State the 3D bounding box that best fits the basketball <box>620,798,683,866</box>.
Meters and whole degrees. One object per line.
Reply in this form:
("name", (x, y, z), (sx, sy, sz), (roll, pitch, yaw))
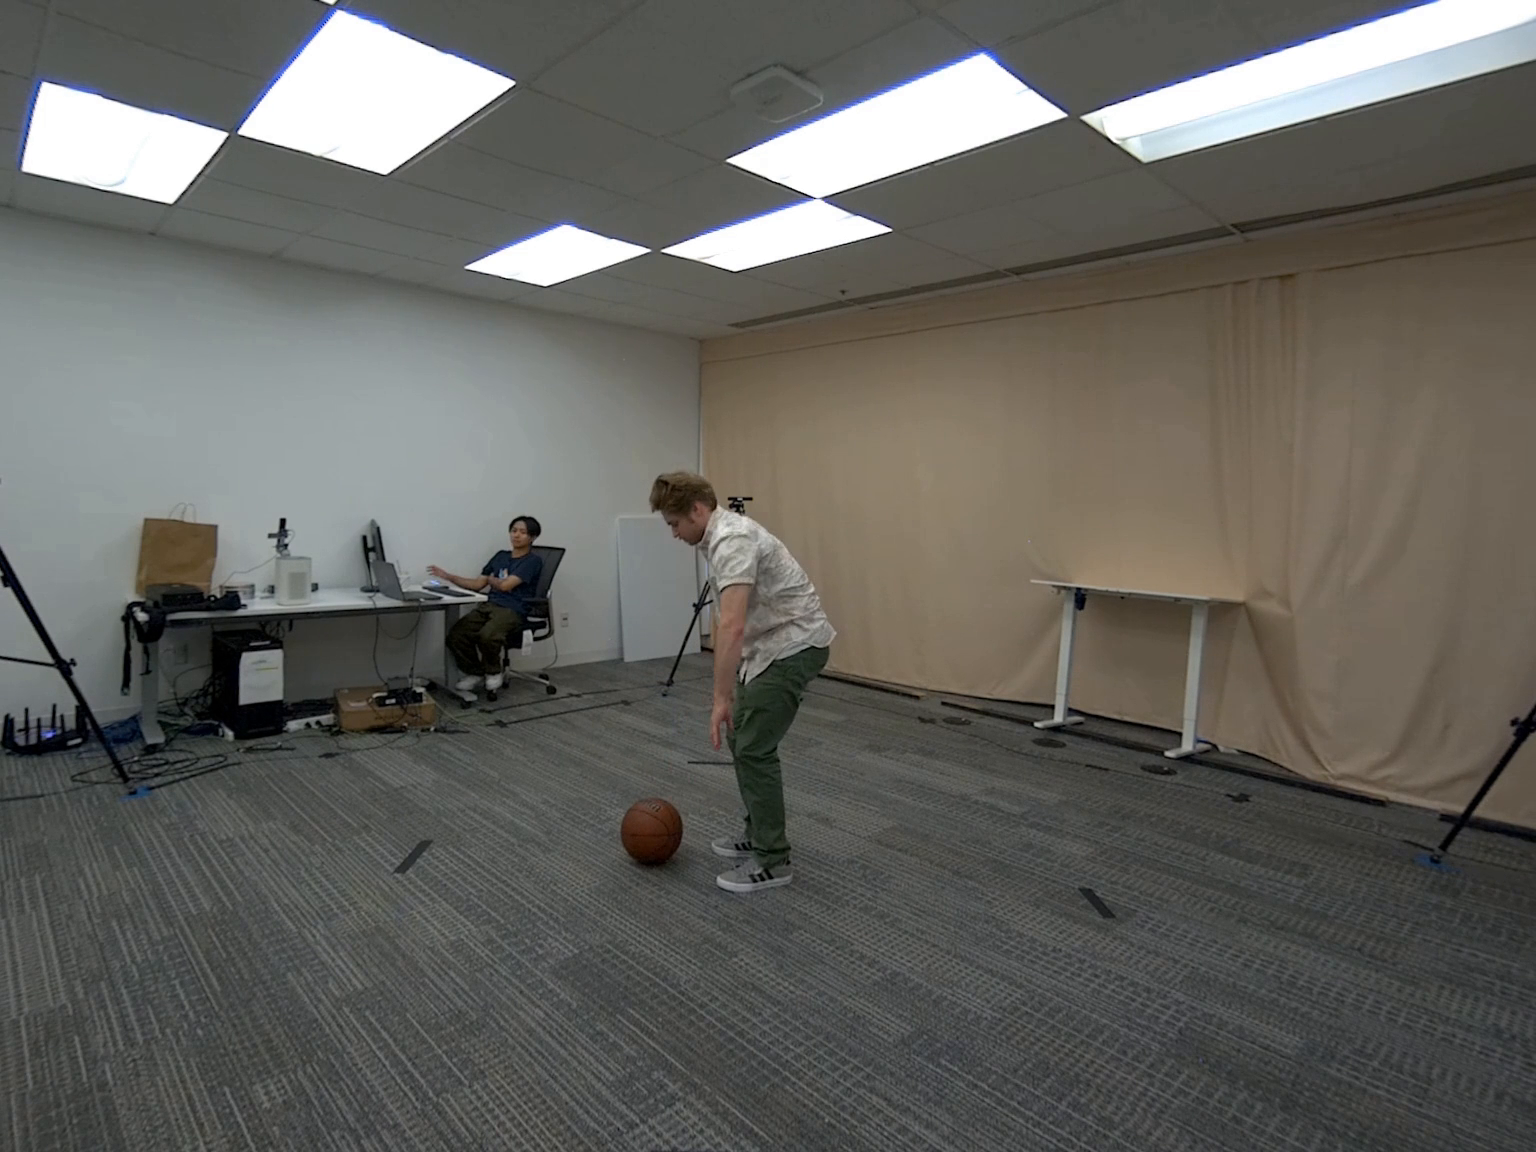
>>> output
("basketball", (-0.442, 0.964, 3.213), (0.236, 0.235, 0.237), (1, 4, -1))
